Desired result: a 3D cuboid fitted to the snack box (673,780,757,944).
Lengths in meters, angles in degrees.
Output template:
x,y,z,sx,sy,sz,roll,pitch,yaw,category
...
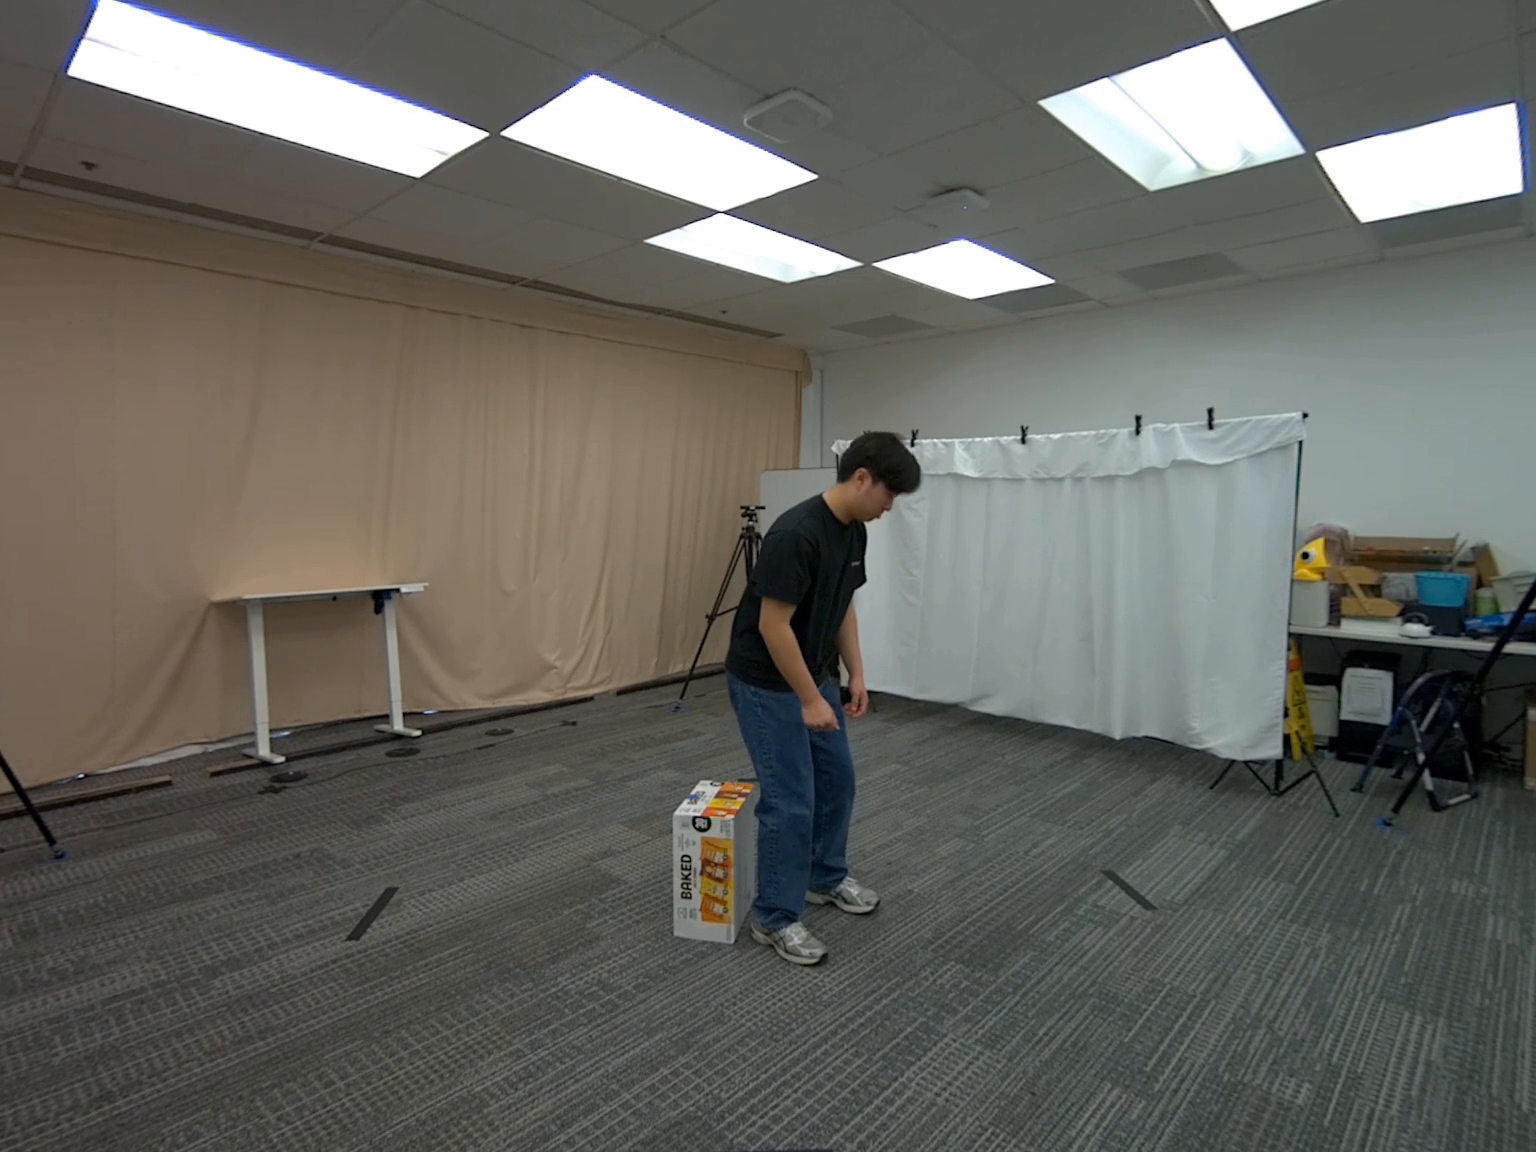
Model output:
x,y,z,sx,sy,sz,roll,pitch,yaw,category
-0.173,0.953,2.851,0.209,0.404,0.336,0,3,12,snack box
